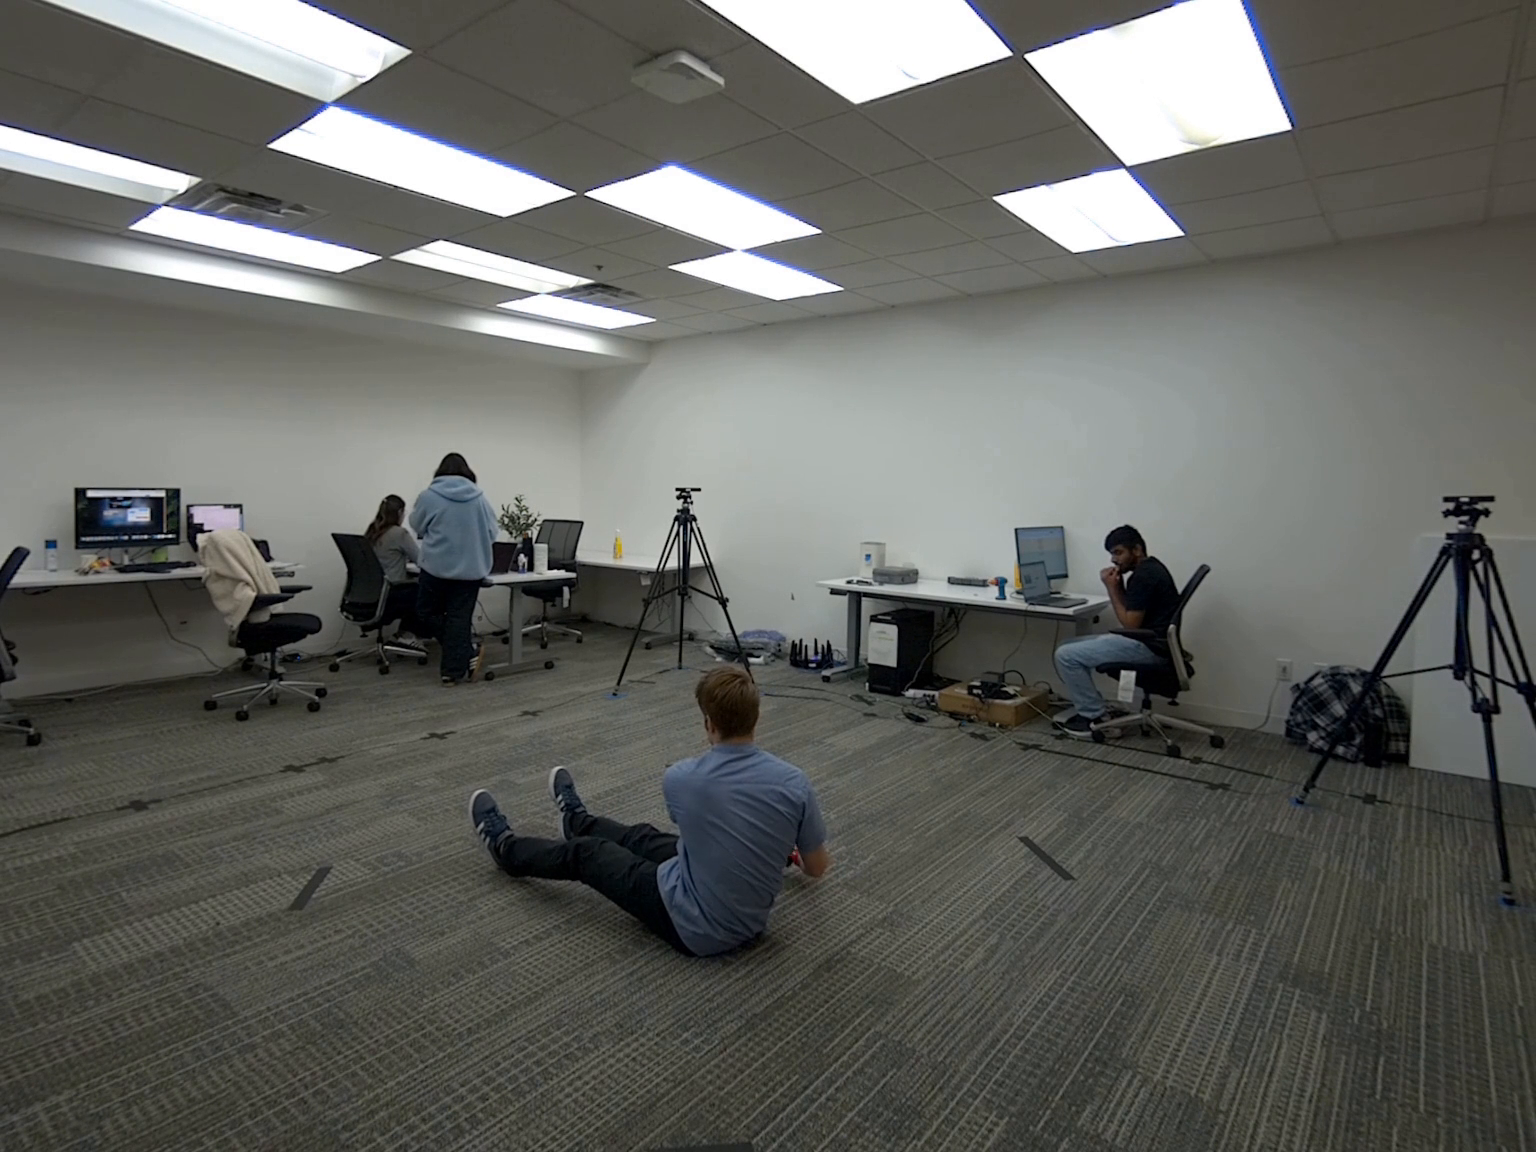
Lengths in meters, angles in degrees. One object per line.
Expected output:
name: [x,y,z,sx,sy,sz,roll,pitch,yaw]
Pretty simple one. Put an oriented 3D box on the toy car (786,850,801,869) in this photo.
toy car: [0.022,0.973,3.055,0.259,0.083,0.128,0,4,15]
